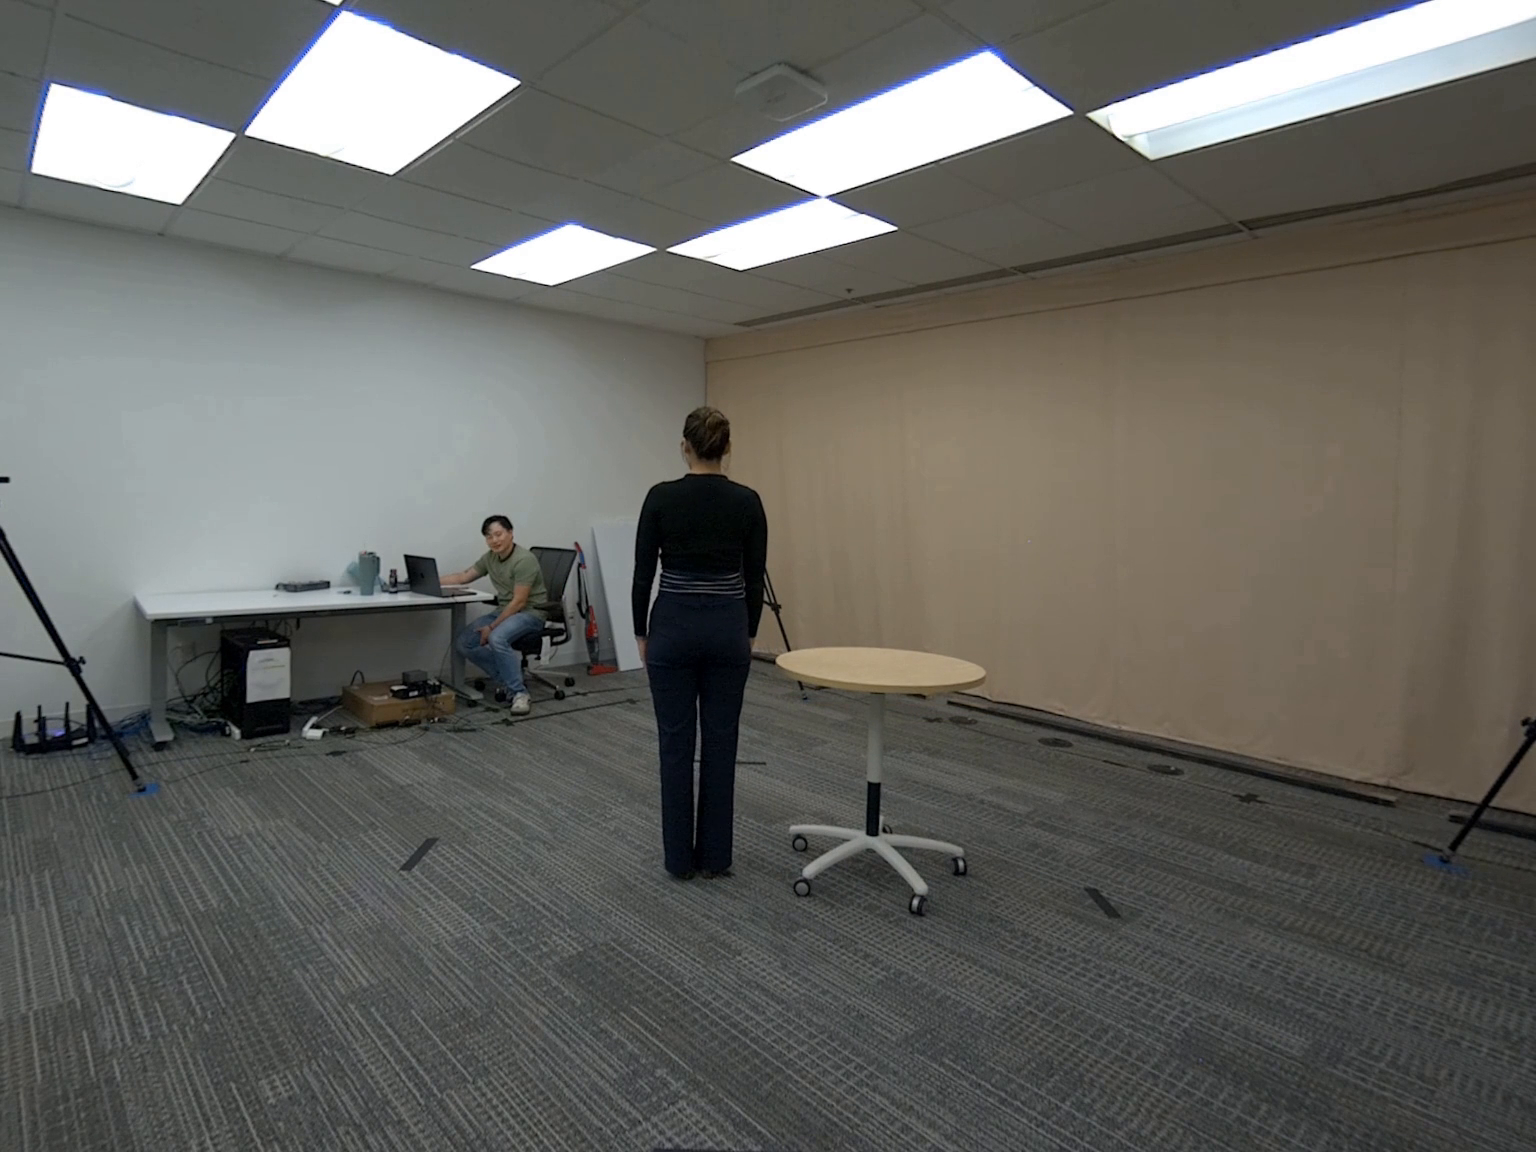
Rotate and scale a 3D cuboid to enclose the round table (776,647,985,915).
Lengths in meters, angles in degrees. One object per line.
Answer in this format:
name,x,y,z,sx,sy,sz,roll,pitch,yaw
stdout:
round table,0.392,0.724,3.143,0.763,0.792,0.766,2,3,-1
